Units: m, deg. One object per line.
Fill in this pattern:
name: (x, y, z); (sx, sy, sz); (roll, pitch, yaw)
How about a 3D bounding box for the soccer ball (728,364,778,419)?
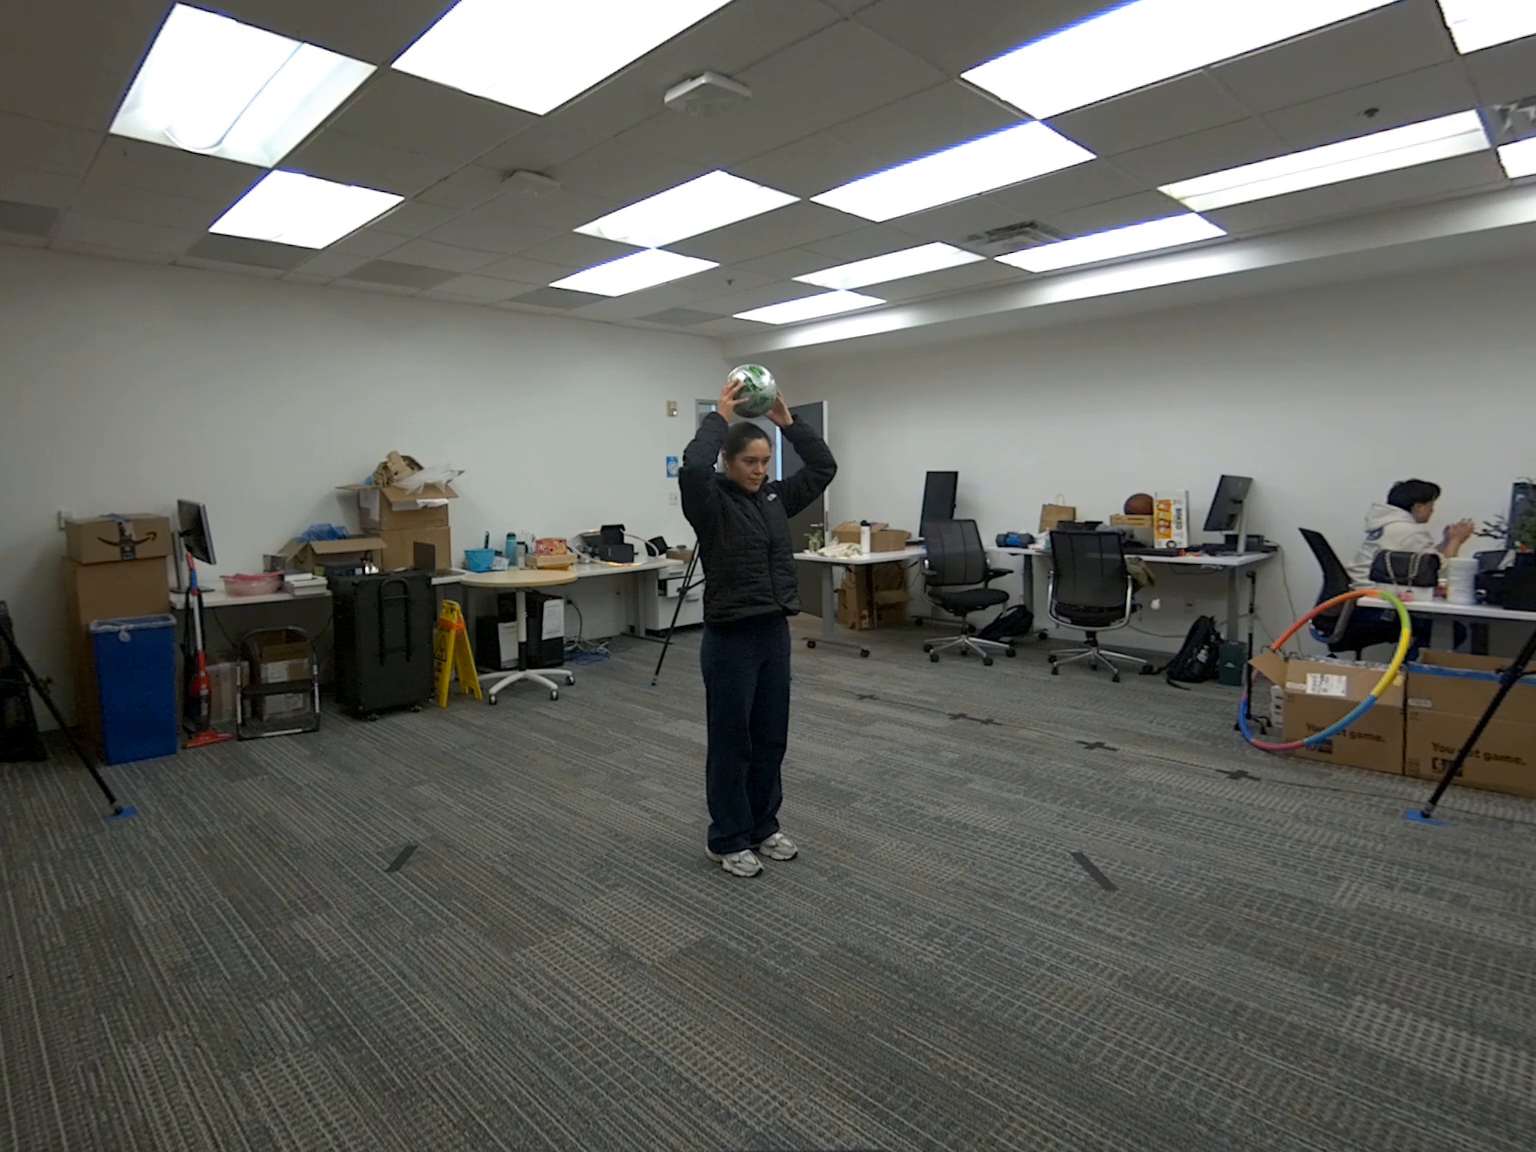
soccer ball: (-0.062, -0.646, 2.993); (0.187, 0.187, 0.188); (-1, 5, -2)
